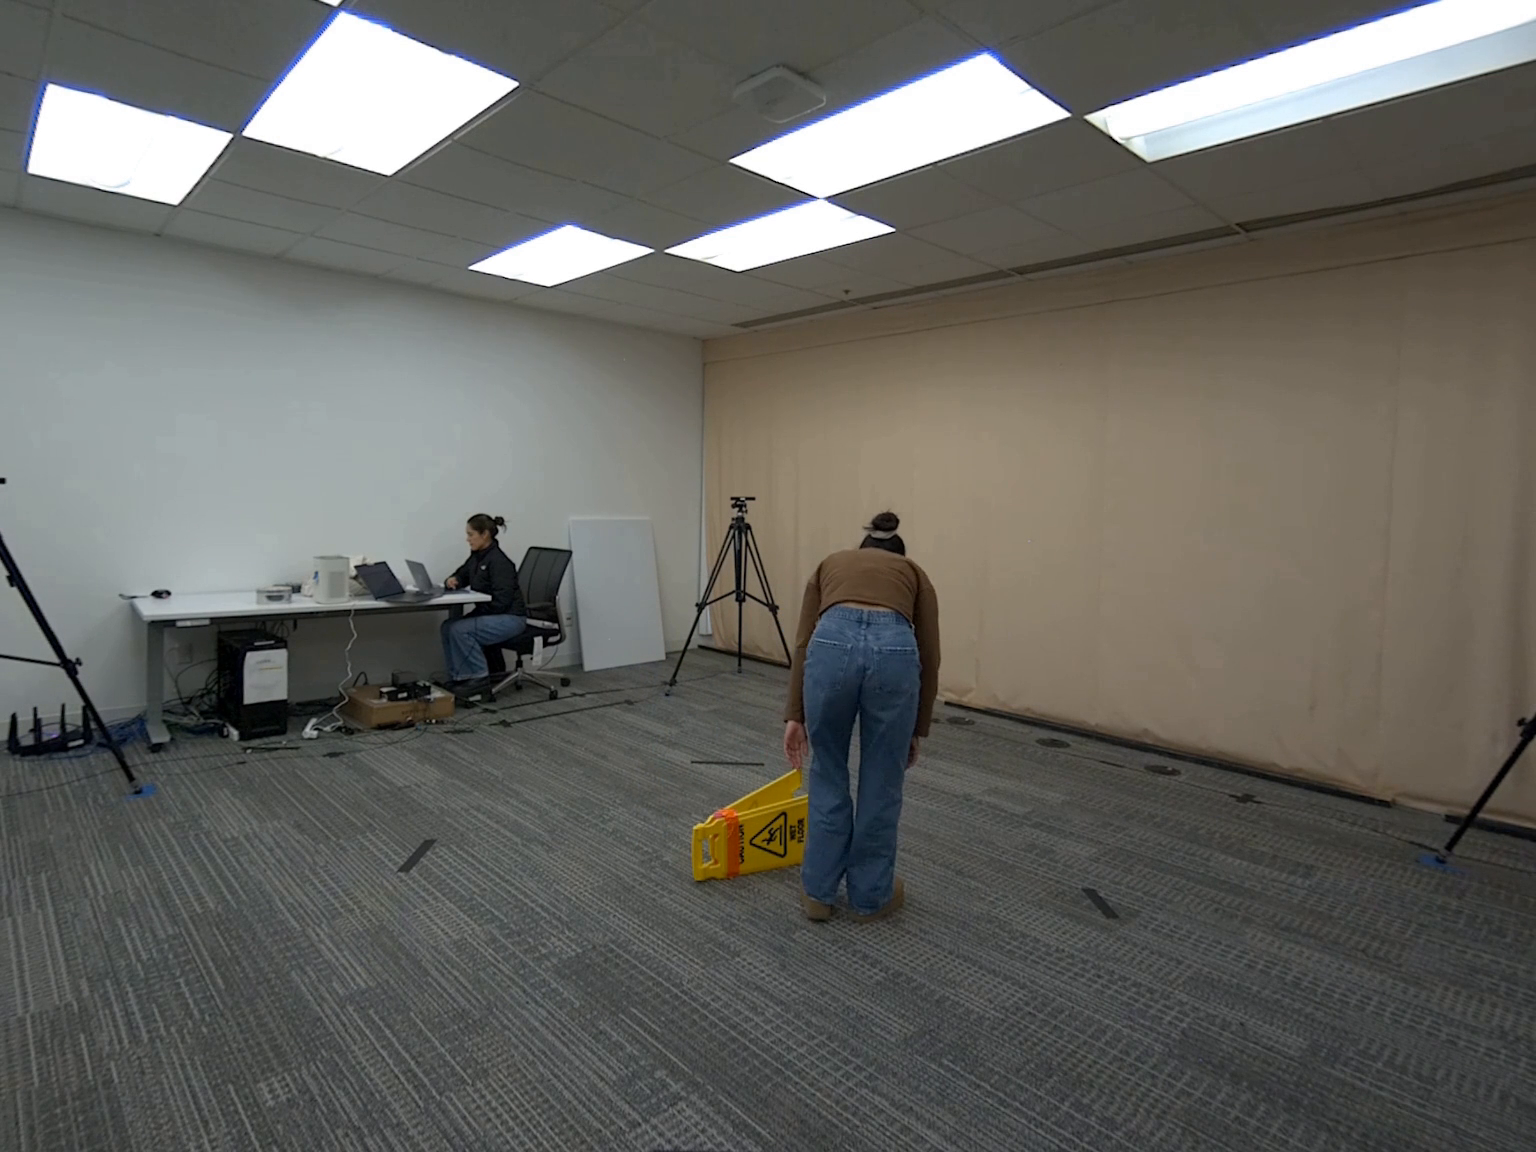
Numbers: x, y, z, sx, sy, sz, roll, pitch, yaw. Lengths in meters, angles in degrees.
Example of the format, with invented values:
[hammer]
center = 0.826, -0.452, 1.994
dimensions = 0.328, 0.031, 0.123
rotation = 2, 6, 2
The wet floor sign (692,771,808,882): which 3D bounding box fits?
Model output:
[wet floor sign]
center = -0.022, 0.973, 3.217
dimensions = 0.632, 0.281, 0.297
rotation = -6, 7, -38
